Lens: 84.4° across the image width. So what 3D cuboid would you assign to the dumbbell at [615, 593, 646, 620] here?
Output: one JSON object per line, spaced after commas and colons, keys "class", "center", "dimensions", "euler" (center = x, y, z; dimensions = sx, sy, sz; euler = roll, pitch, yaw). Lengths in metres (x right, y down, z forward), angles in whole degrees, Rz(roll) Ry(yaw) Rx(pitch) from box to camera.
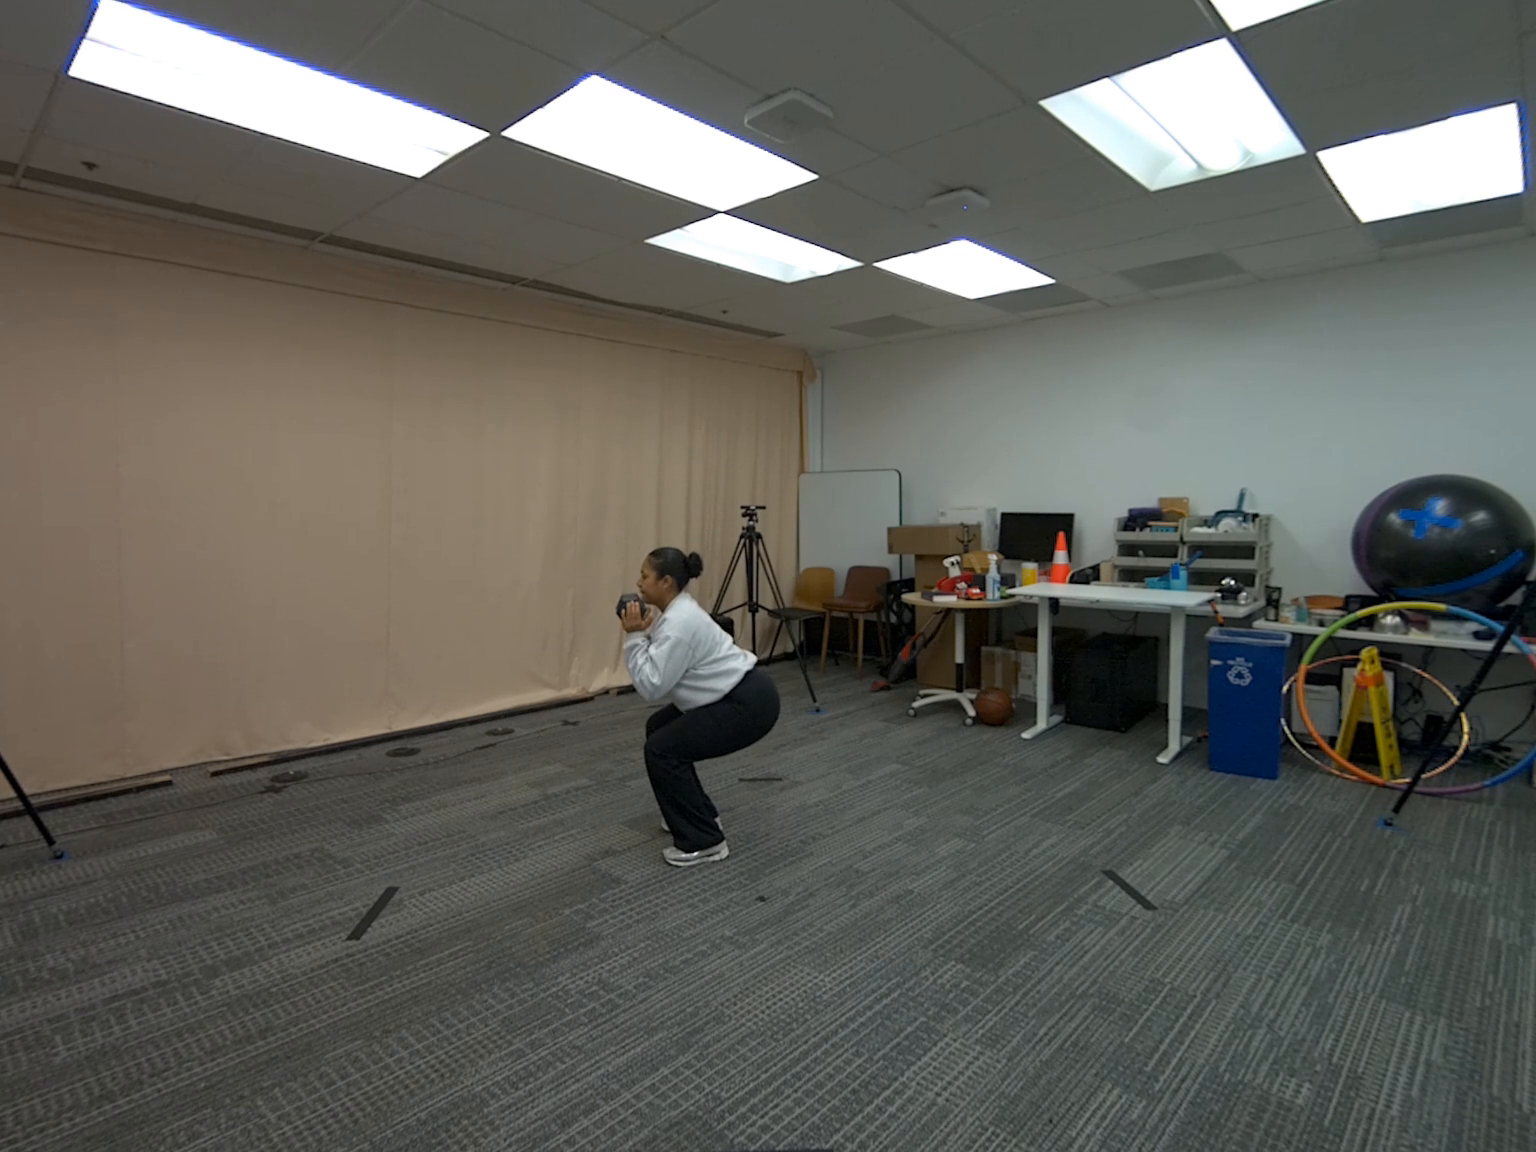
{"class": "dumbbell", "center": [-0.547, 0.122, 3.436], "dimensions": [0.107, 0.123, 0.297], "euler": [28, -4, -11]}
